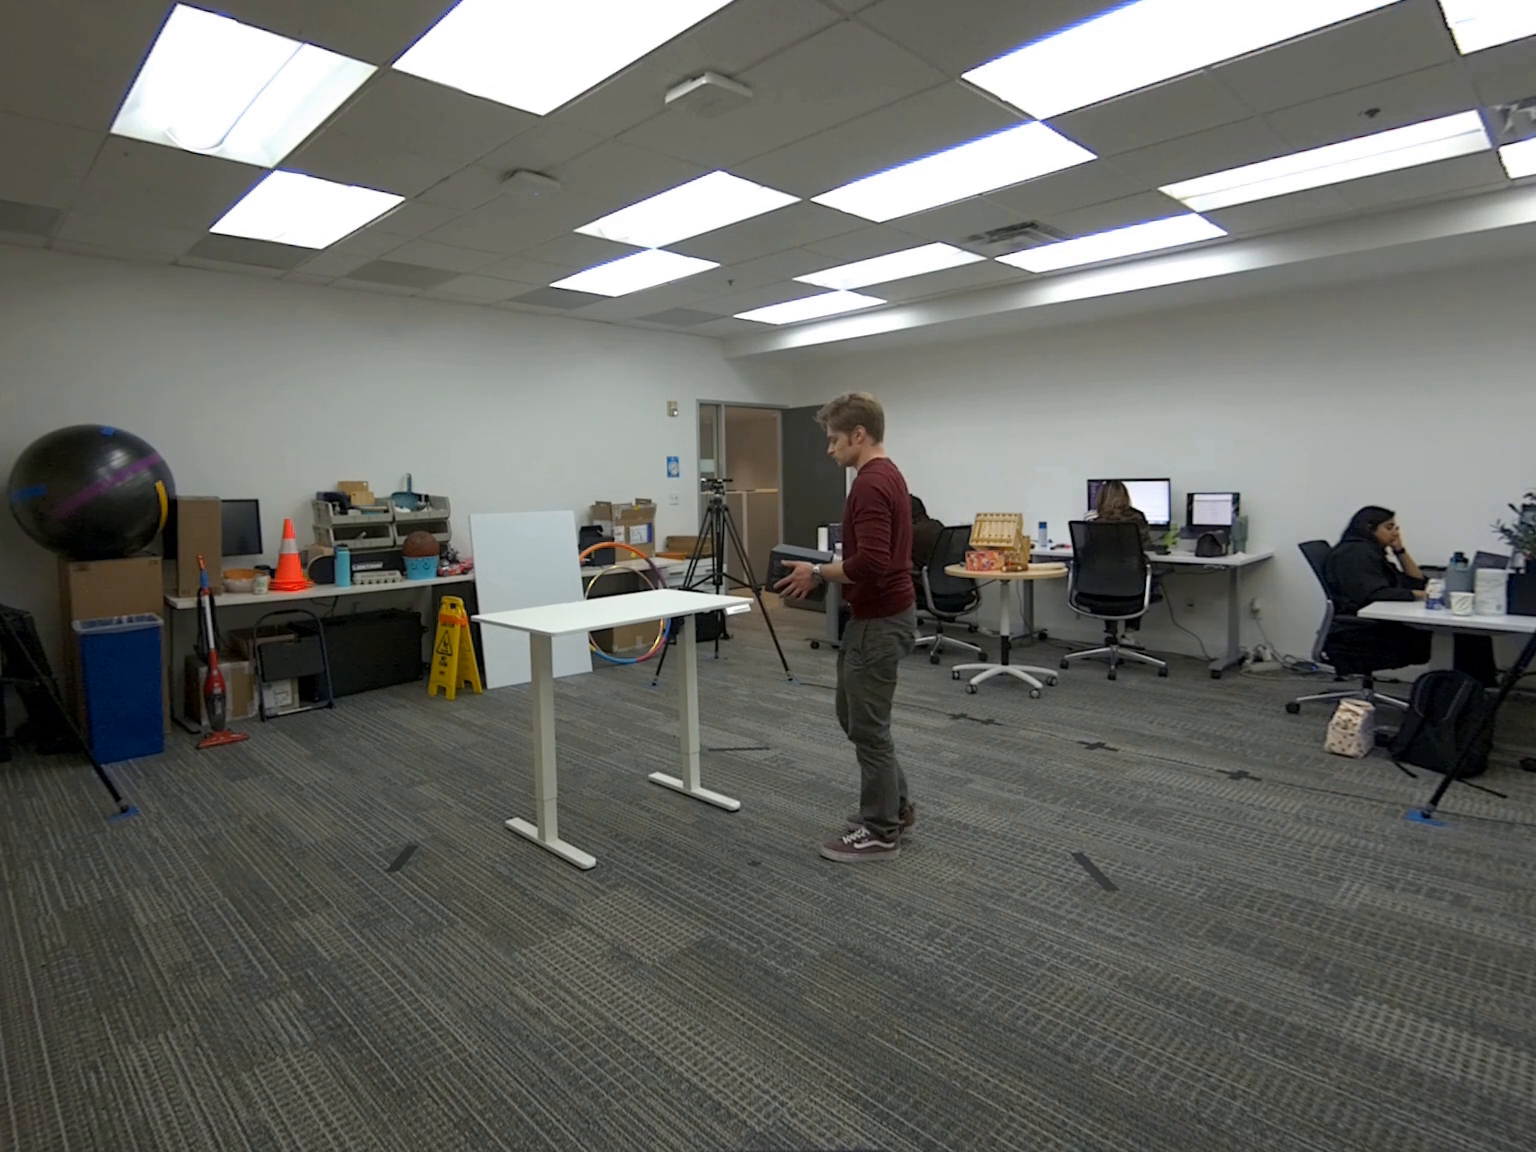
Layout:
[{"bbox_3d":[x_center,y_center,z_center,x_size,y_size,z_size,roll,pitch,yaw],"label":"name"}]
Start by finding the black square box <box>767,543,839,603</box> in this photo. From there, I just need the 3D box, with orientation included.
[{"bbox_3d":[0.132,-0.018,3.181,0.220,0.155,0.227,9,9,10],"label":"black square box"}]
